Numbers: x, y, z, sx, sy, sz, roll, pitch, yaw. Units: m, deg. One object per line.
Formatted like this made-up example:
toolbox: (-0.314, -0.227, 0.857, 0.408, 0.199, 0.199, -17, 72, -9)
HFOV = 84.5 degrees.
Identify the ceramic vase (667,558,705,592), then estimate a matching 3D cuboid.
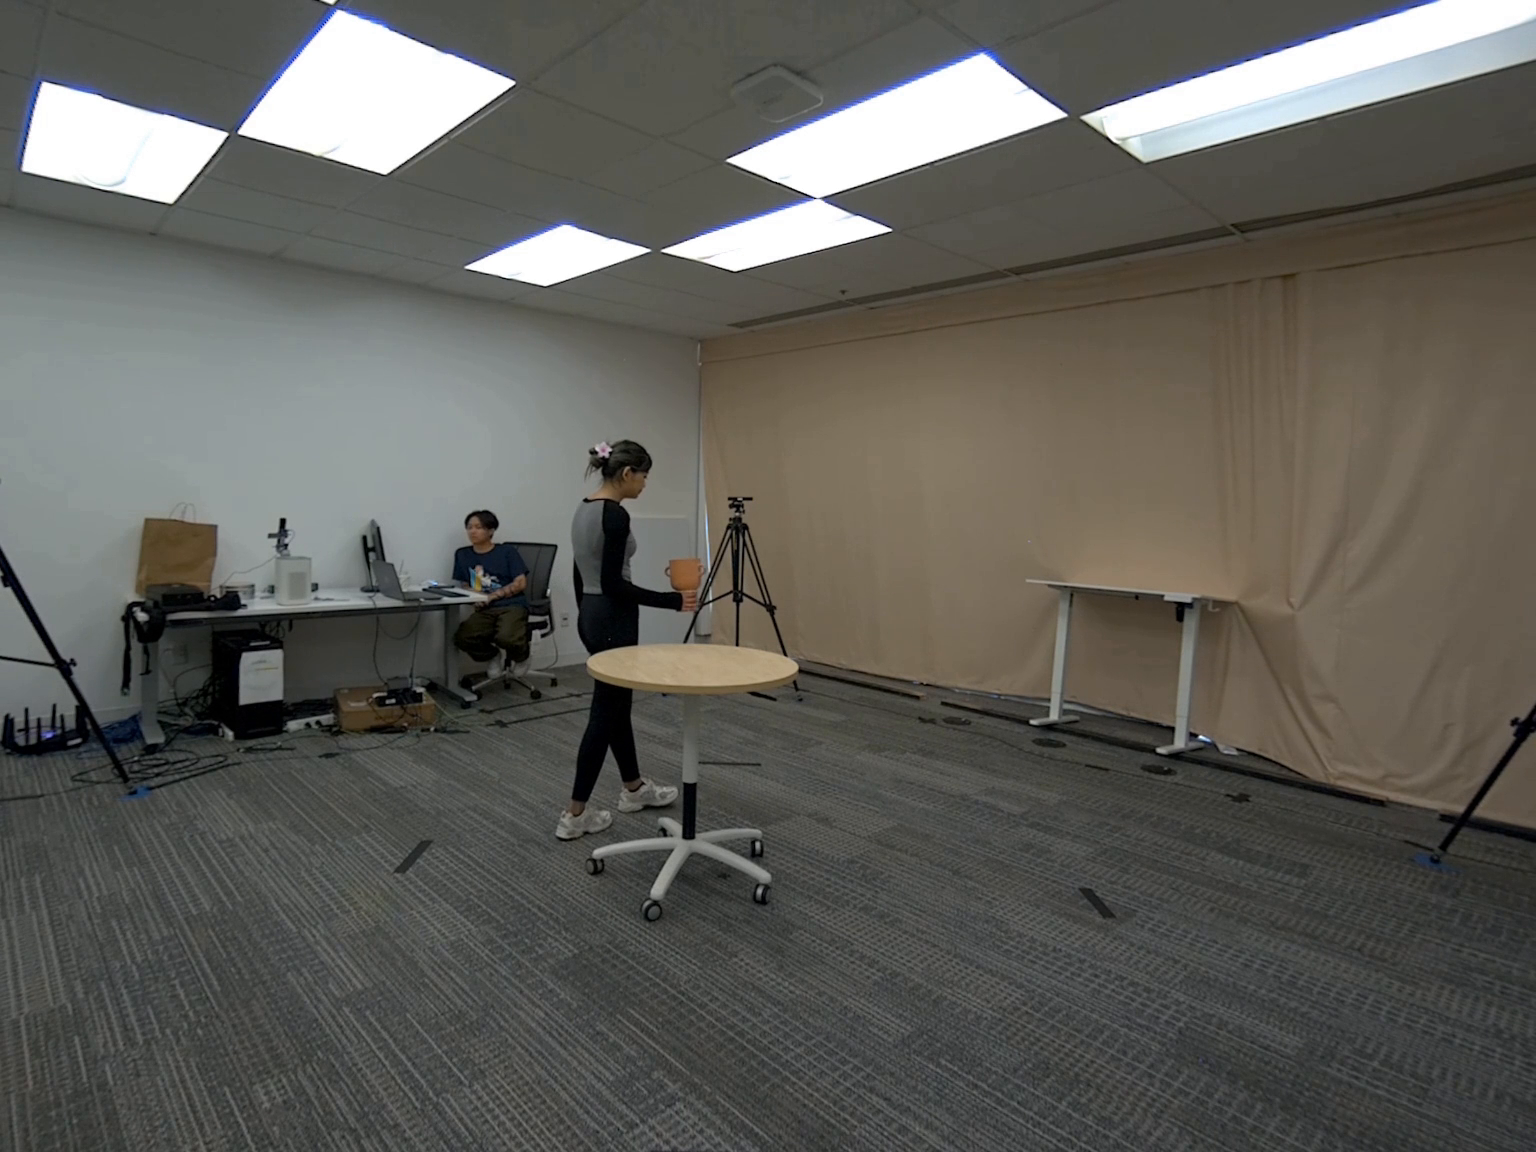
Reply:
ceramic vase: (-0.356, 0.036, 3.545, 0.132, 0.220, 0.161, -2, -2, -29)
